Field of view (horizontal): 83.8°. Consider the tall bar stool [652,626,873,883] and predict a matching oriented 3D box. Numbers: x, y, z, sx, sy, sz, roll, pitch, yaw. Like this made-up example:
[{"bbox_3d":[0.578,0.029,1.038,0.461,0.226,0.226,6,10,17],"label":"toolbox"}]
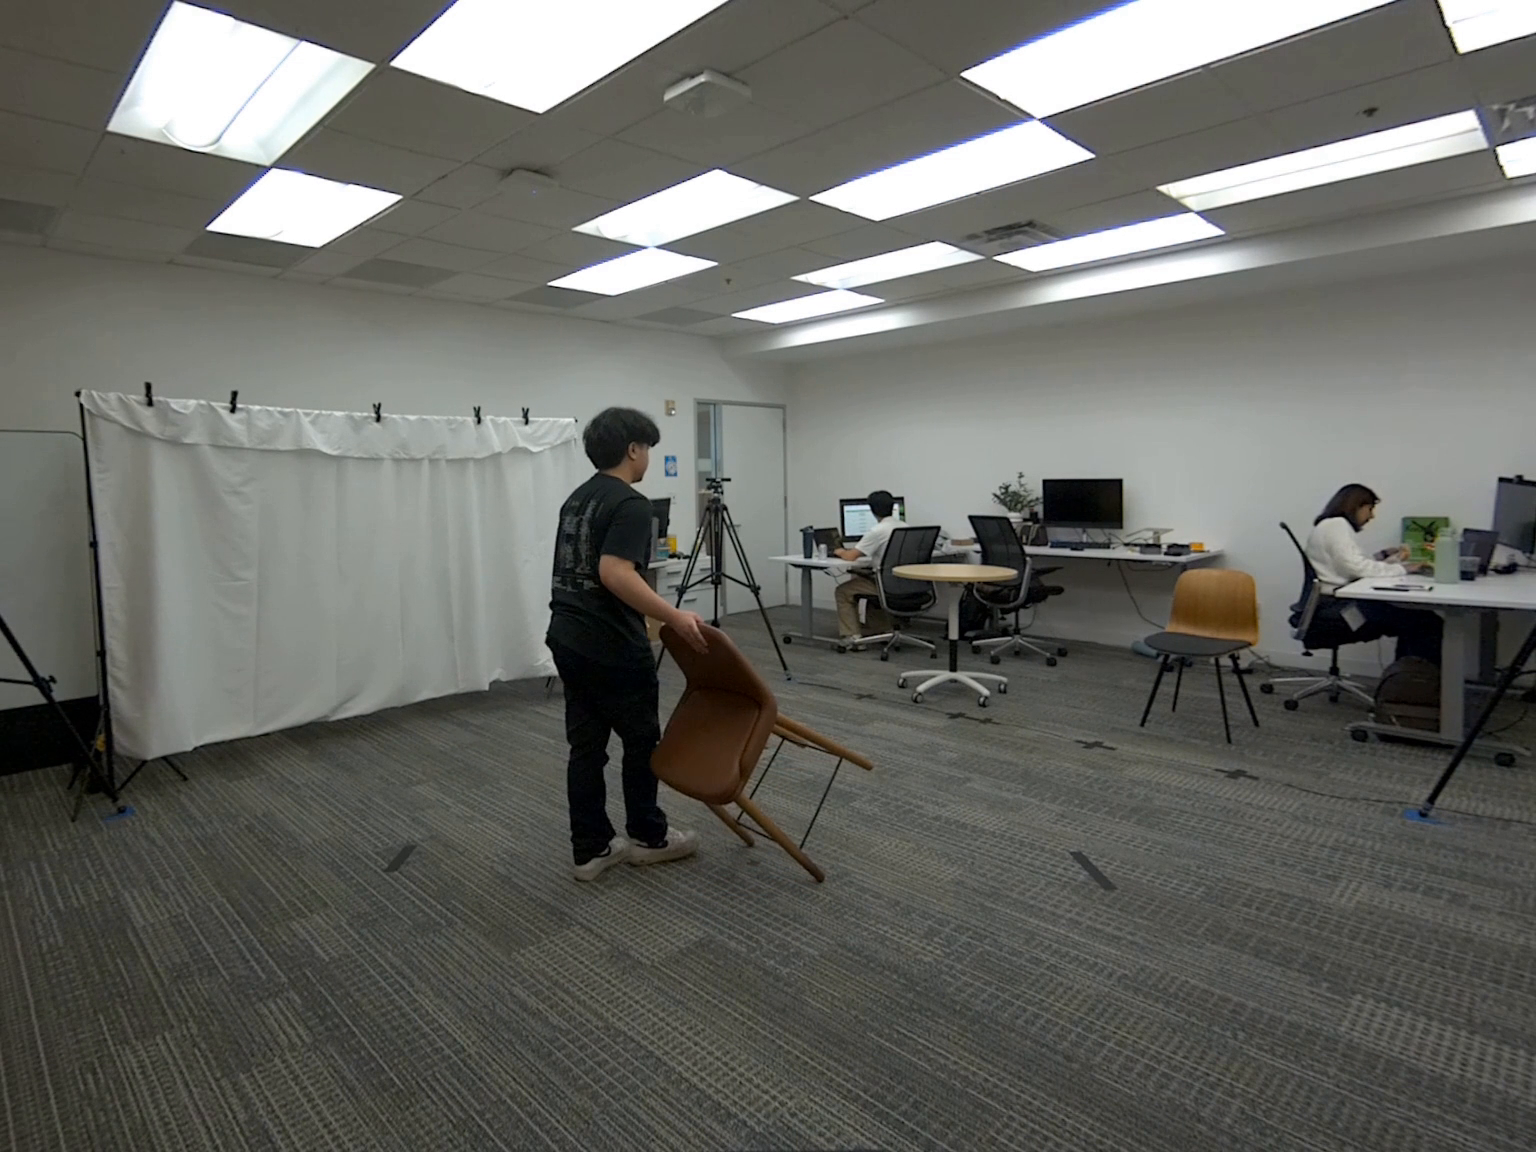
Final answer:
[{"bbox_3d":[-0.090,0.602,2.962,0.471,0.469,0.859,6,-34,50],"label":"tall bar stool"}]
